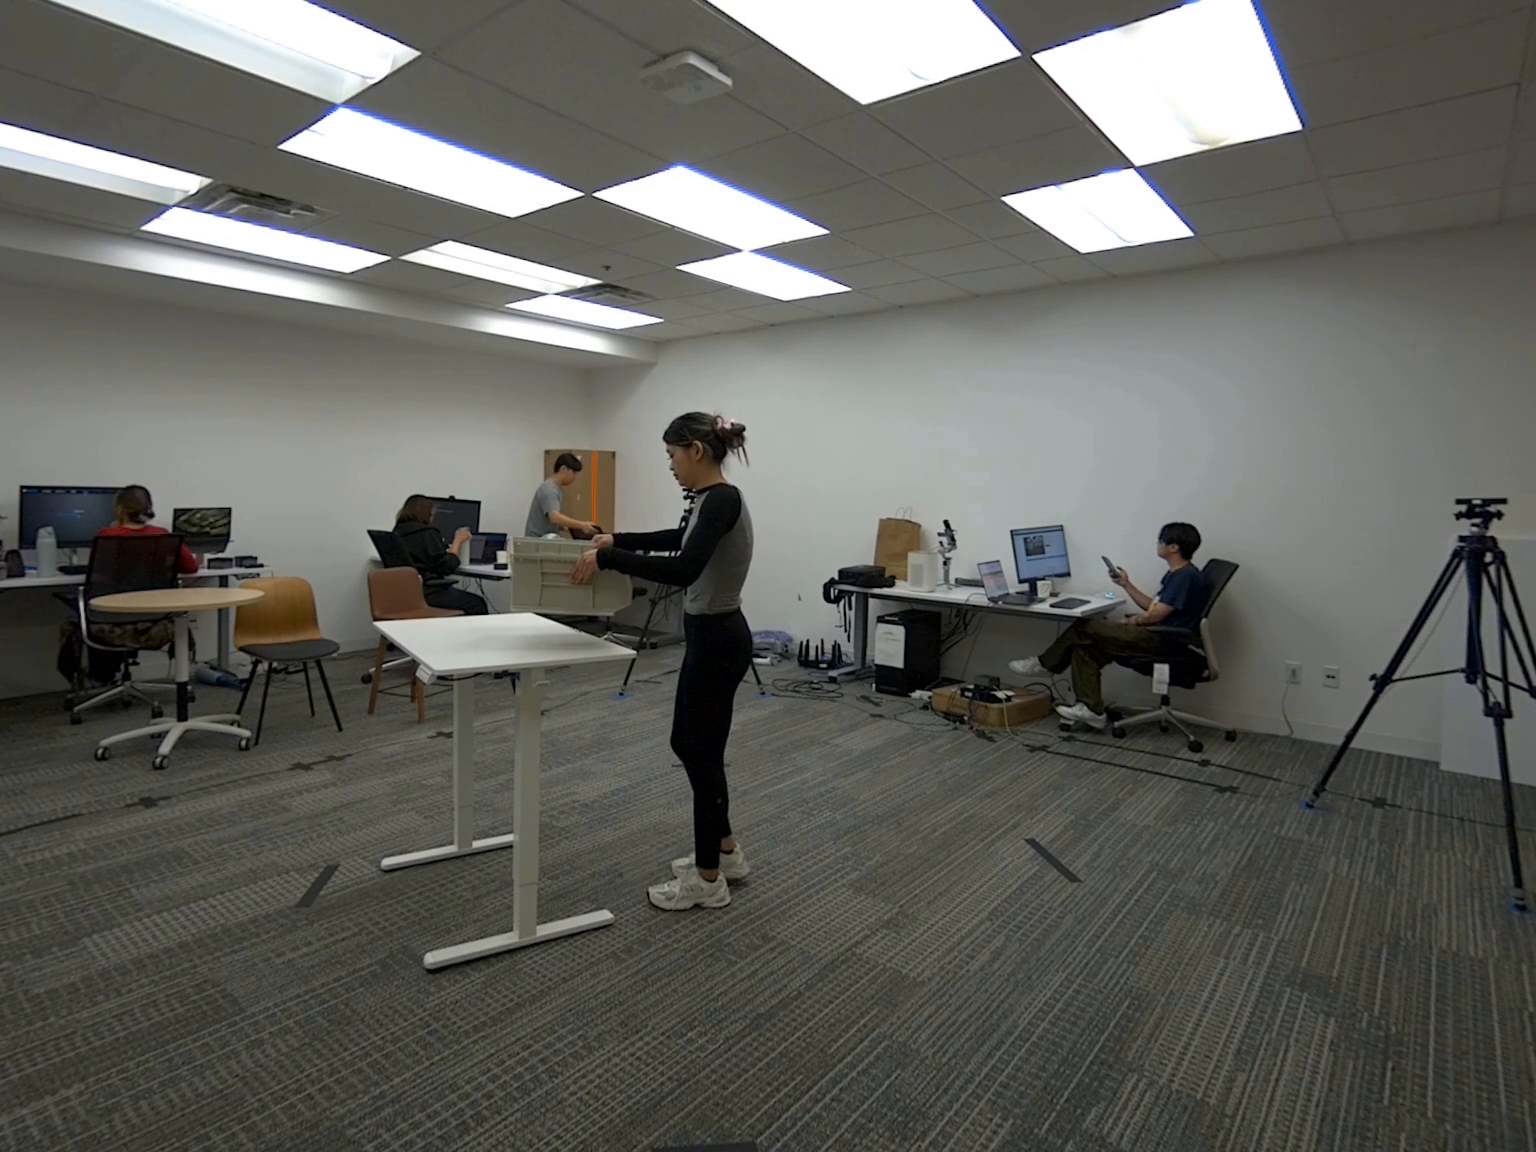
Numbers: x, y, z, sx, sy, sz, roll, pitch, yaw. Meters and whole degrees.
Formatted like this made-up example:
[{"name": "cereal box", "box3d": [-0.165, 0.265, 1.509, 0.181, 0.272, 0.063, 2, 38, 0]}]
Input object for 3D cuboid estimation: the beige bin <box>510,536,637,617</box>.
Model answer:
[{"name": "beige bin", "box3d": [-0.662, -0.011, 2.804, 0.371, 0.187, 0.433, -1, 10, -17]}]
